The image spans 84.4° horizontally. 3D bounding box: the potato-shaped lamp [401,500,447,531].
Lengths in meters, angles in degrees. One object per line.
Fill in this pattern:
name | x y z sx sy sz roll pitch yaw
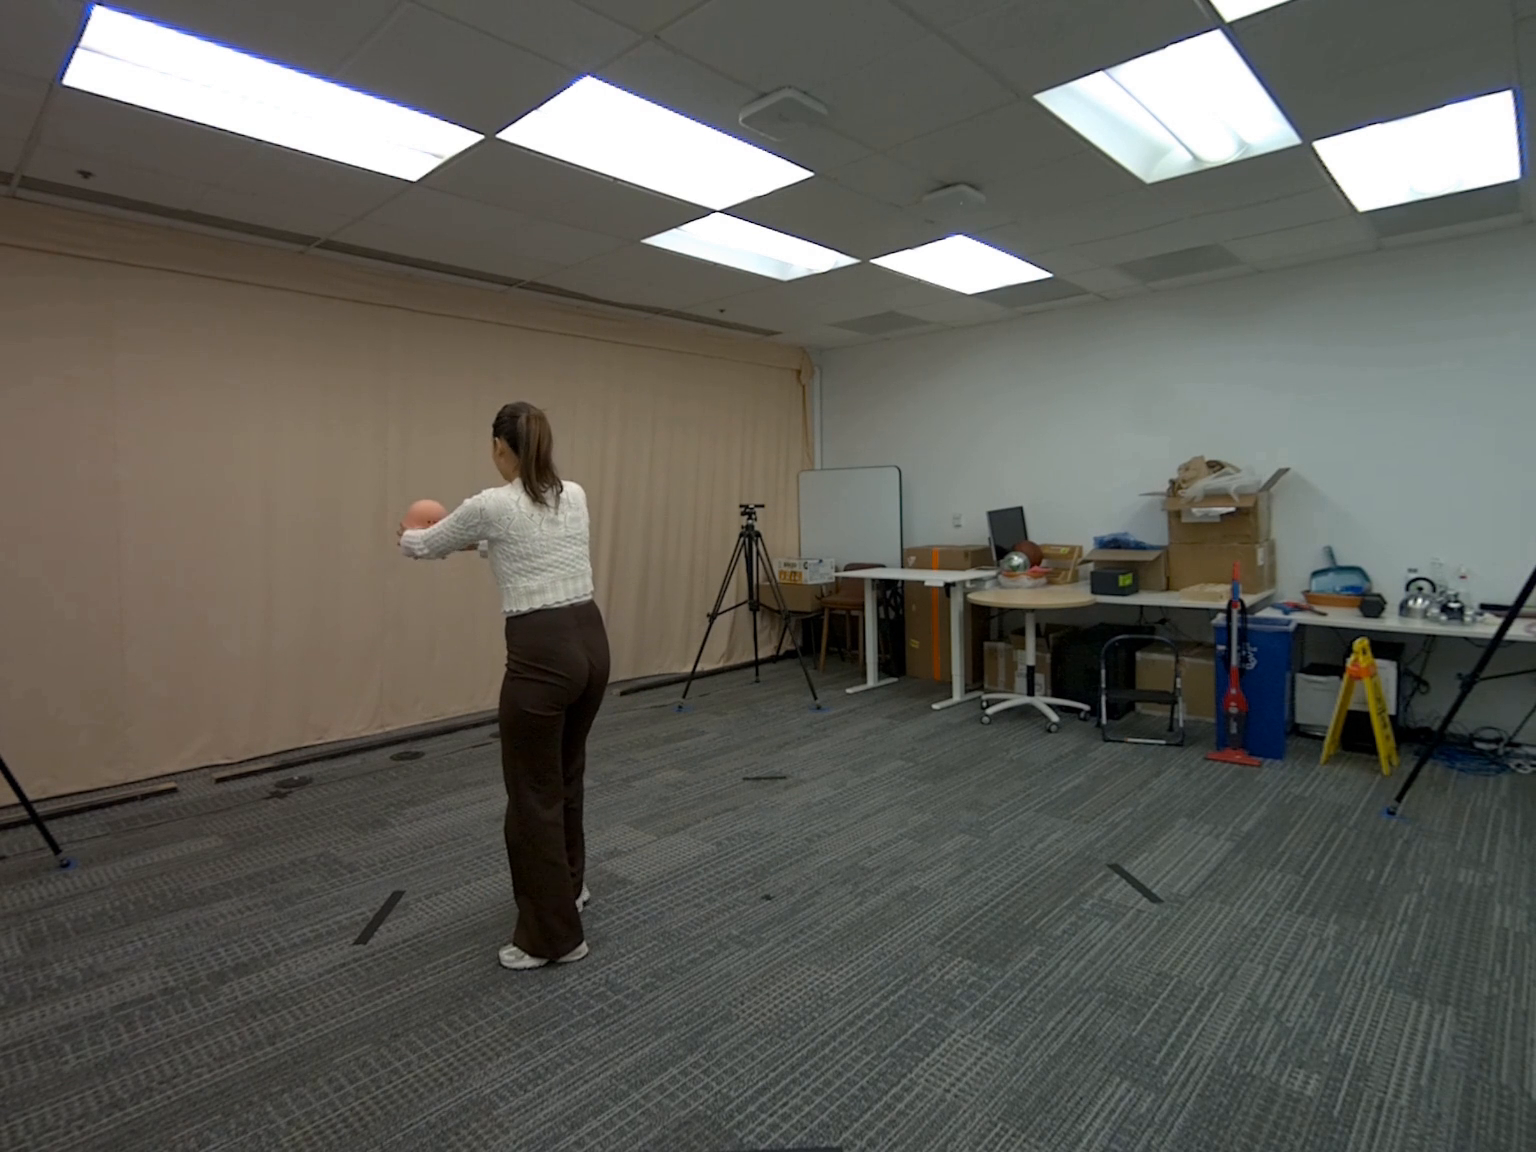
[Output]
potato-shaped lamp | -1.204 -0.171 2.958 0.174 0.197 0.162 16 8 13
